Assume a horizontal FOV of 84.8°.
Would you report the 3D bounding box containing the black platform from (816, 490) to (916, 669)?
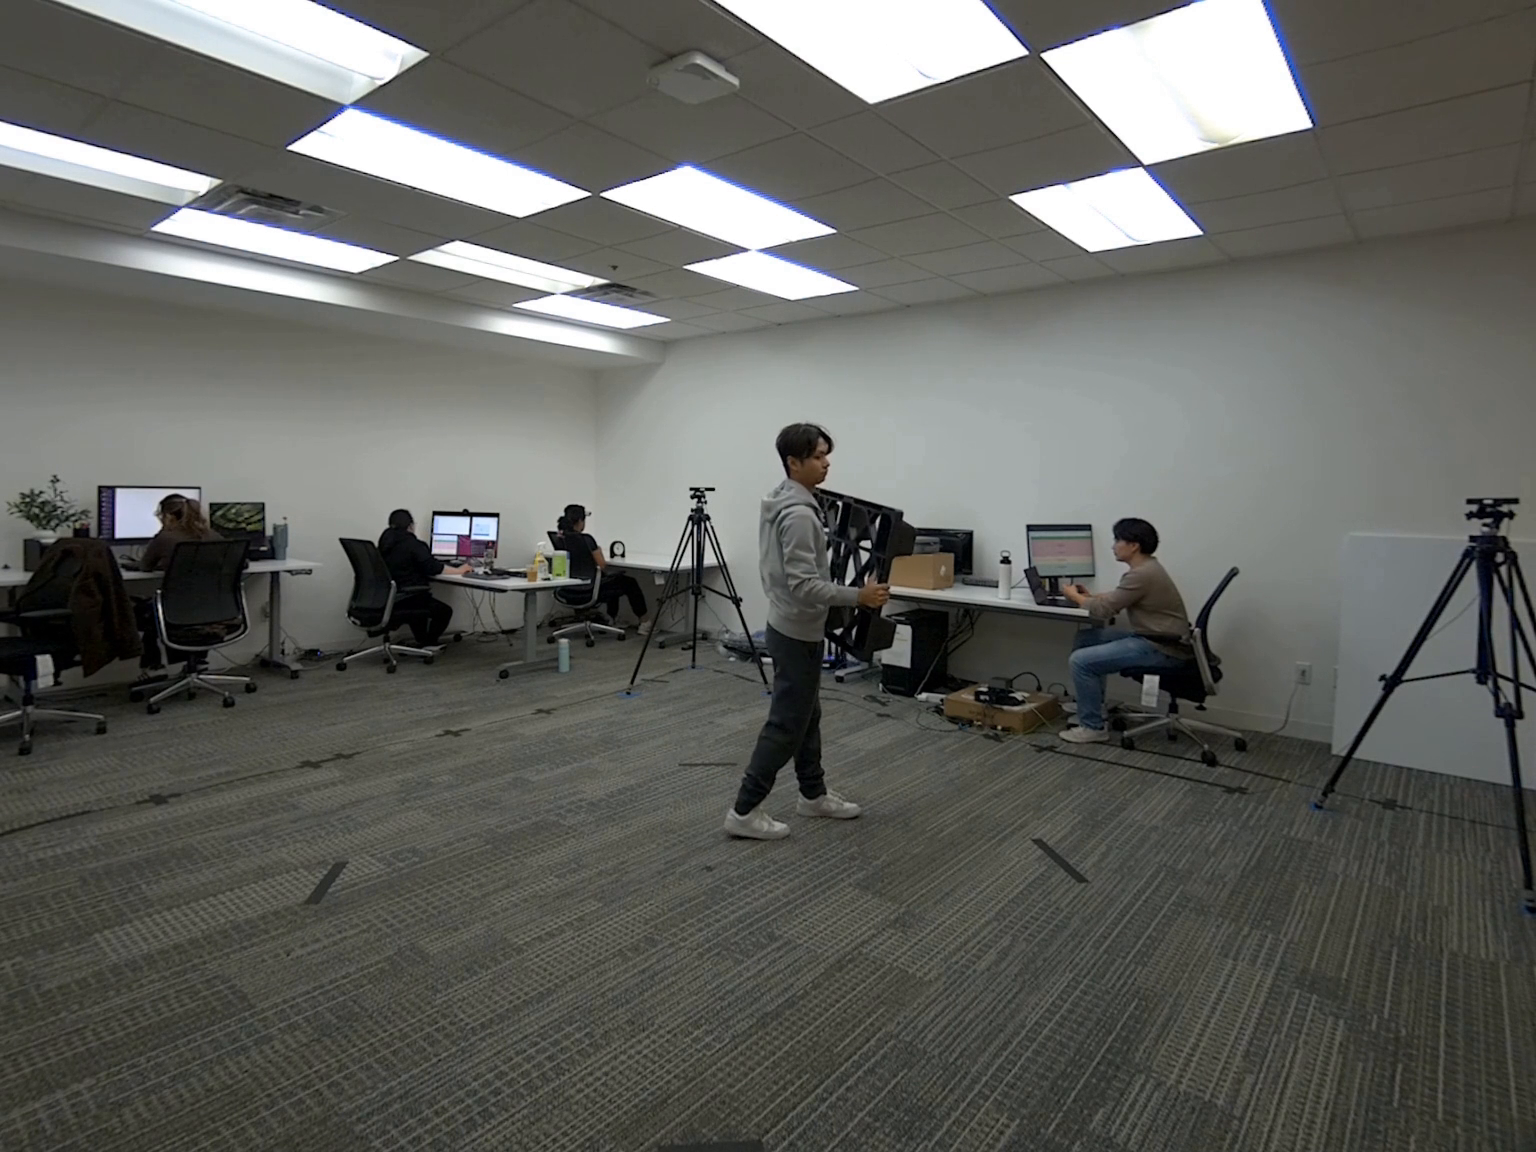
[{"bbox_3d":[0.329,-0.034,3.587,0.140,0.602,0.829,8,9,-22],"label":"black platform"}]
